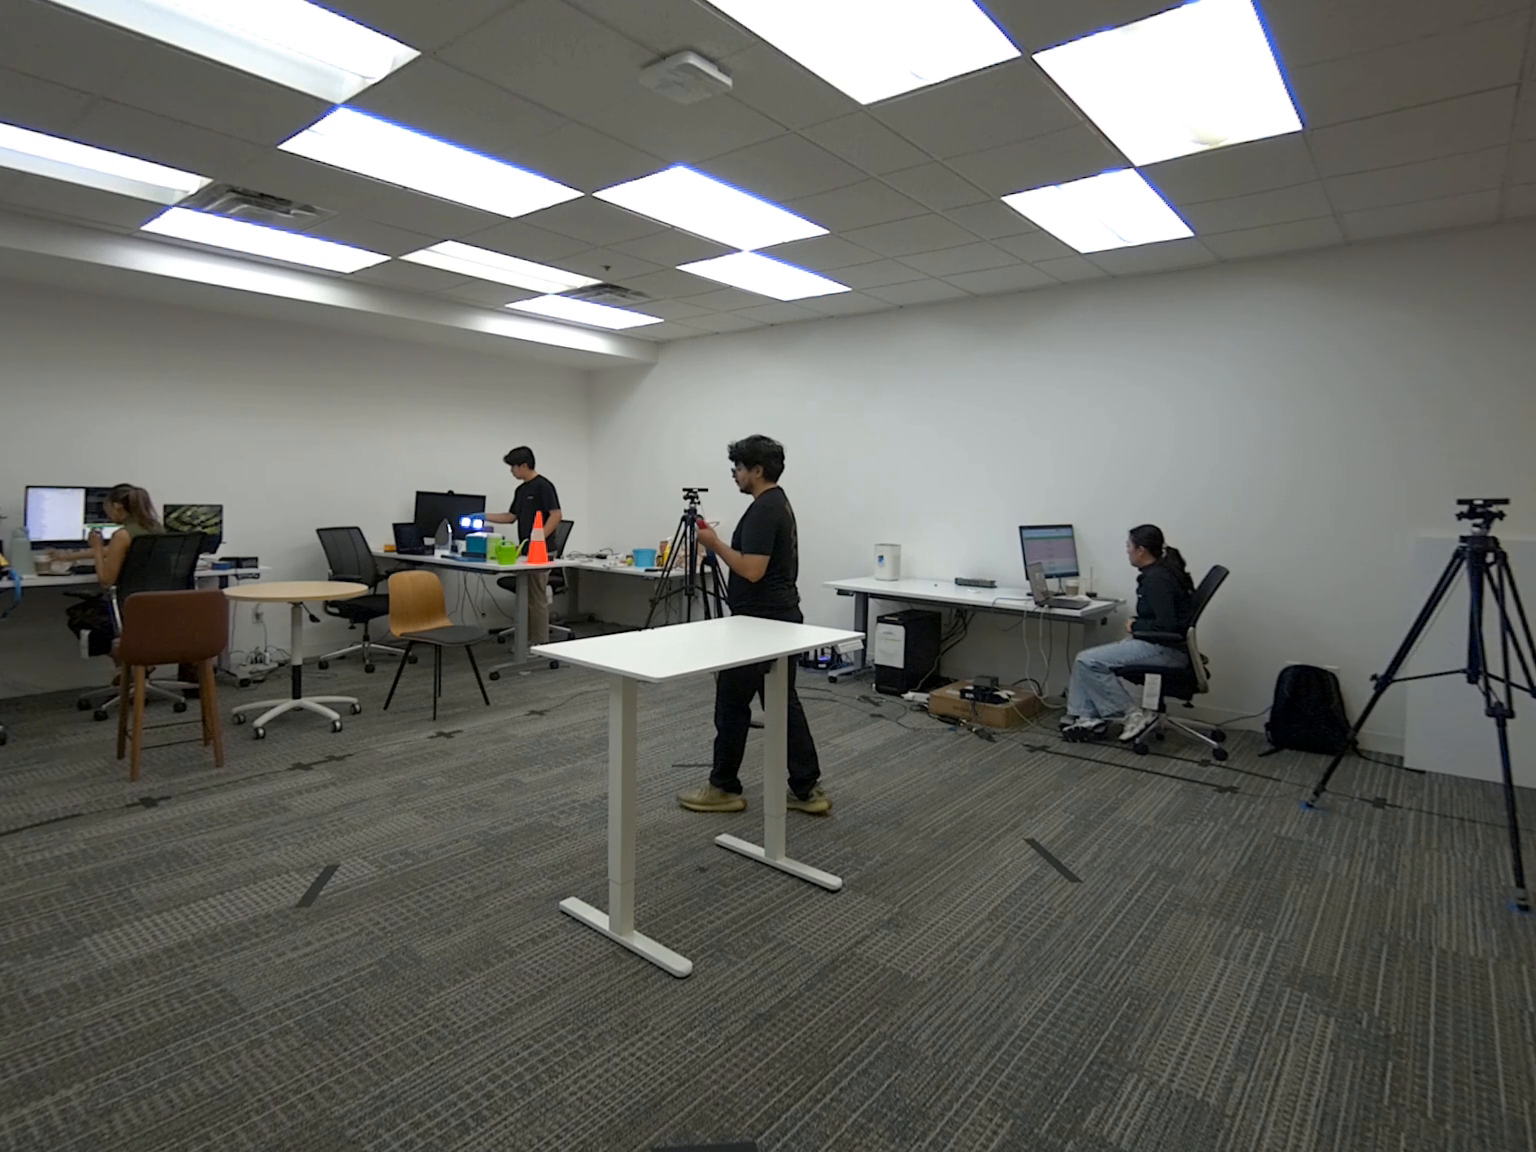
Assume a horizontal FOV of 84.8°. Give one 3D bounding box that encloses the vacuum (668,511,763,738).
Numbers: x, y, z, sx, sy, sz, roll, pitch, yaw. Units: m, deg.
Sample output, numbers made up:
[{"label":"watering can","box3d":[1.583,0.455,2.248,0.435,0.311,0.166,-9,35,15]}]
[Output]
[{"label":"vacuum","box3d":[-0.228,0.227,3.803,0.259,1.026,0.143,4,24,25]}]
